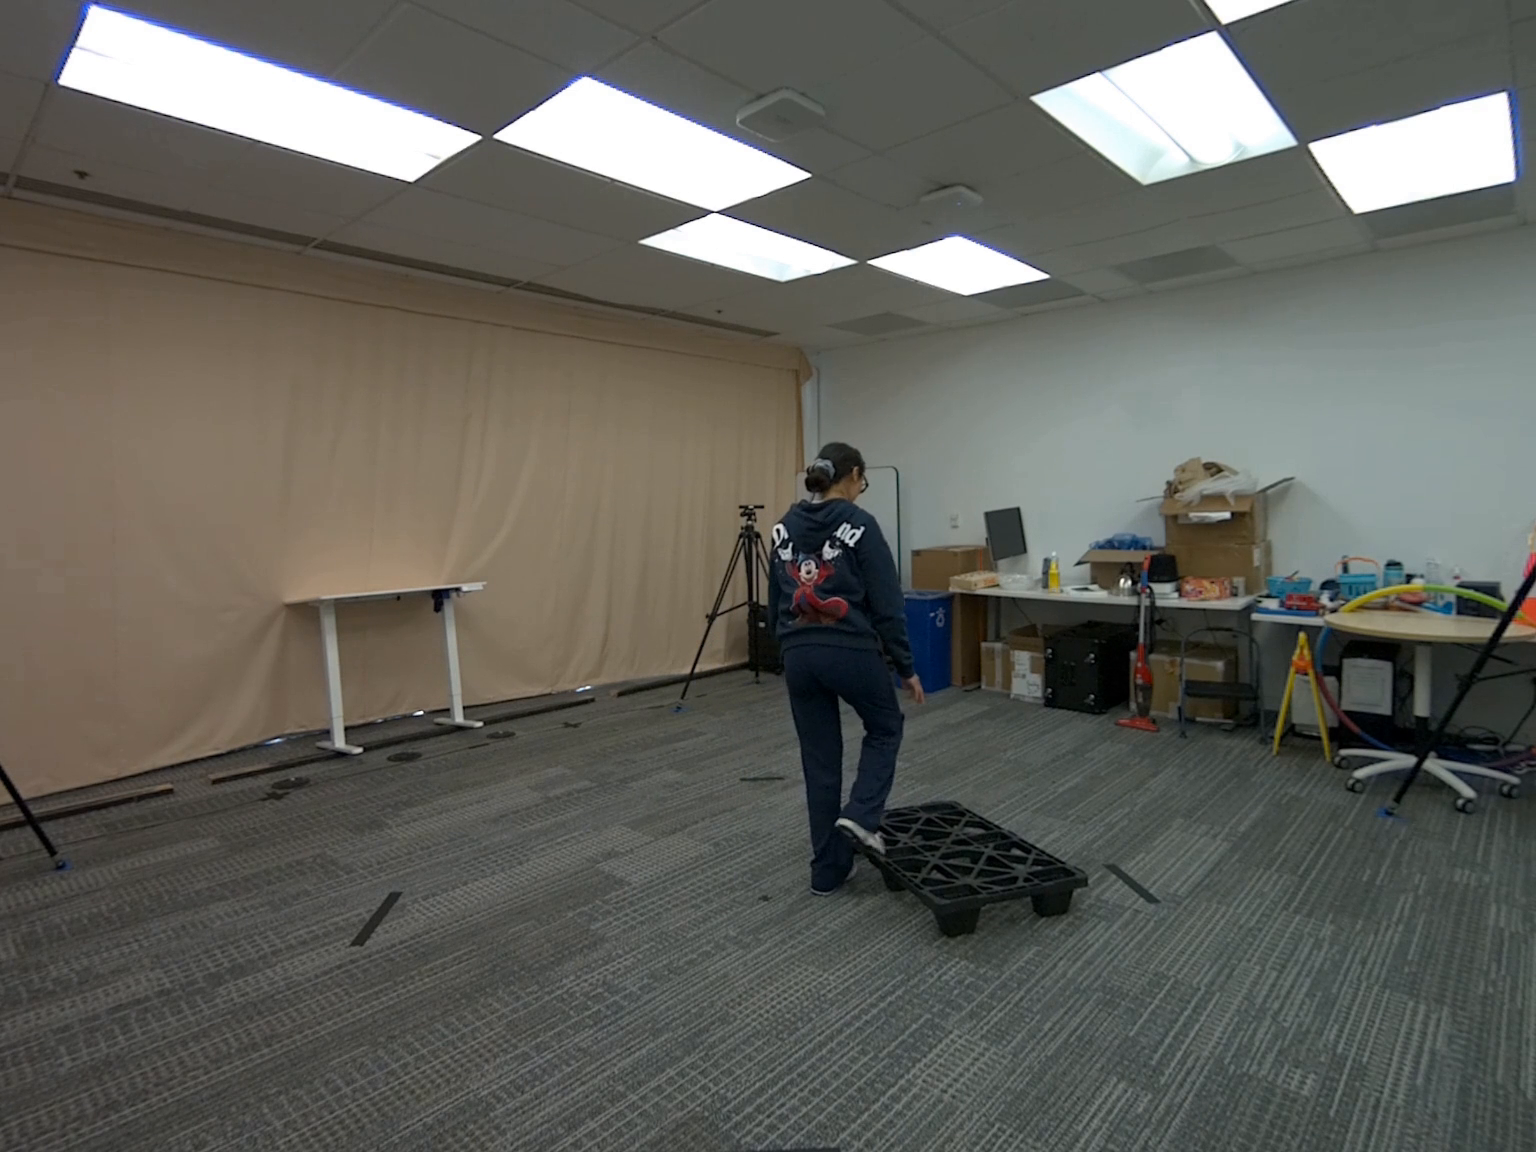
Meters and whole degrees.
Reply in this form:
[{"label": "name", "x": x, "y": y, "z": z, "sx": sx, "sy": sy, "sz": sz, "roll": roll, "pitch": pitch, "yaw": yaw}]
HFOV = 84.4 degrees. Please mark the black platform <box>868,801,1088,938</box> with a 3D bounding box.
[{"label": "black platform", "x": 0.659, "y": 1.054, "z": 3.092, "sx": 0.593, "sy": 0.143, "sz": 0.824, "roll": -3, "pitch": 5, "yaw": -21}]
